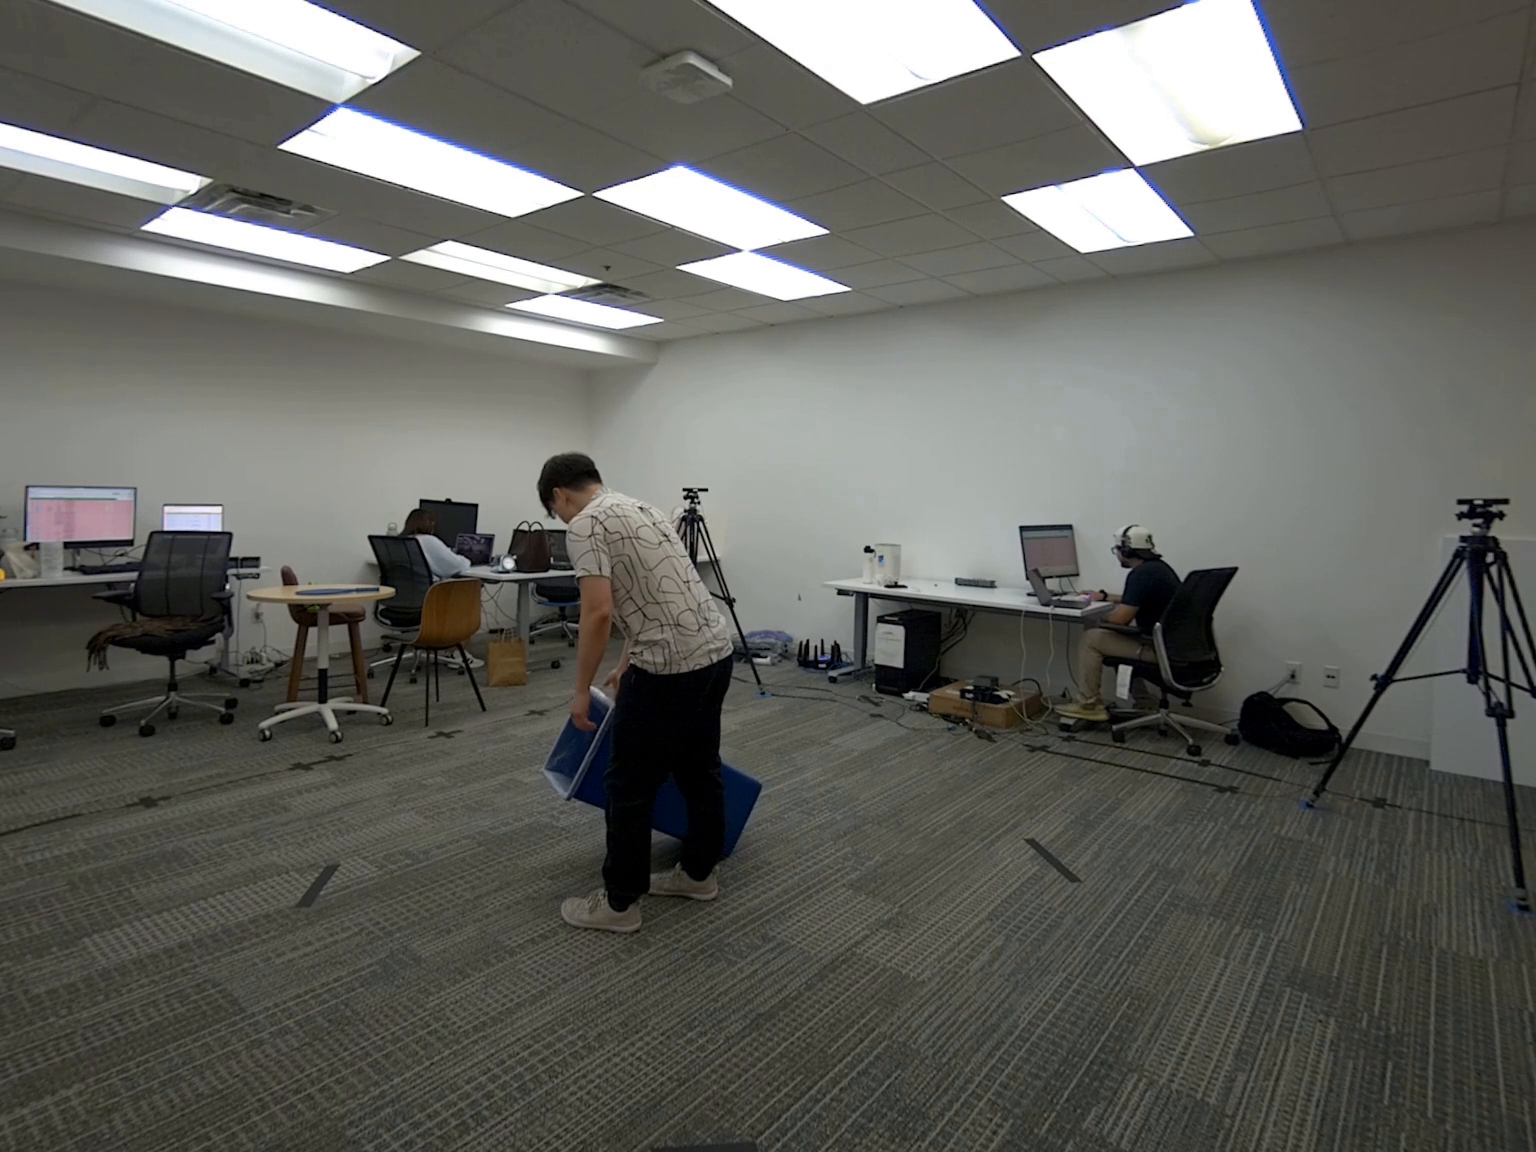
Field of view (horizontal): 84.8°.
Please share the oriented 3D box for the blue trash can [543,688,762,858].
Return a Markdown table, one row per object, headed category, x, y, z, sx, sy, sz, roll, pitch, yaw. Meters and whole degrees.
| category | x | y | z | sx | sy | sz | roll | pitch | yaw |
| --- | --- | --- | --- | --- | --- | --- | --- | --- | --- |
| blue trash can | -0.441 | 0.754 | 3.205 | 0.693 | 0.375 | 0.388 | 32 | -12 | -23 |
